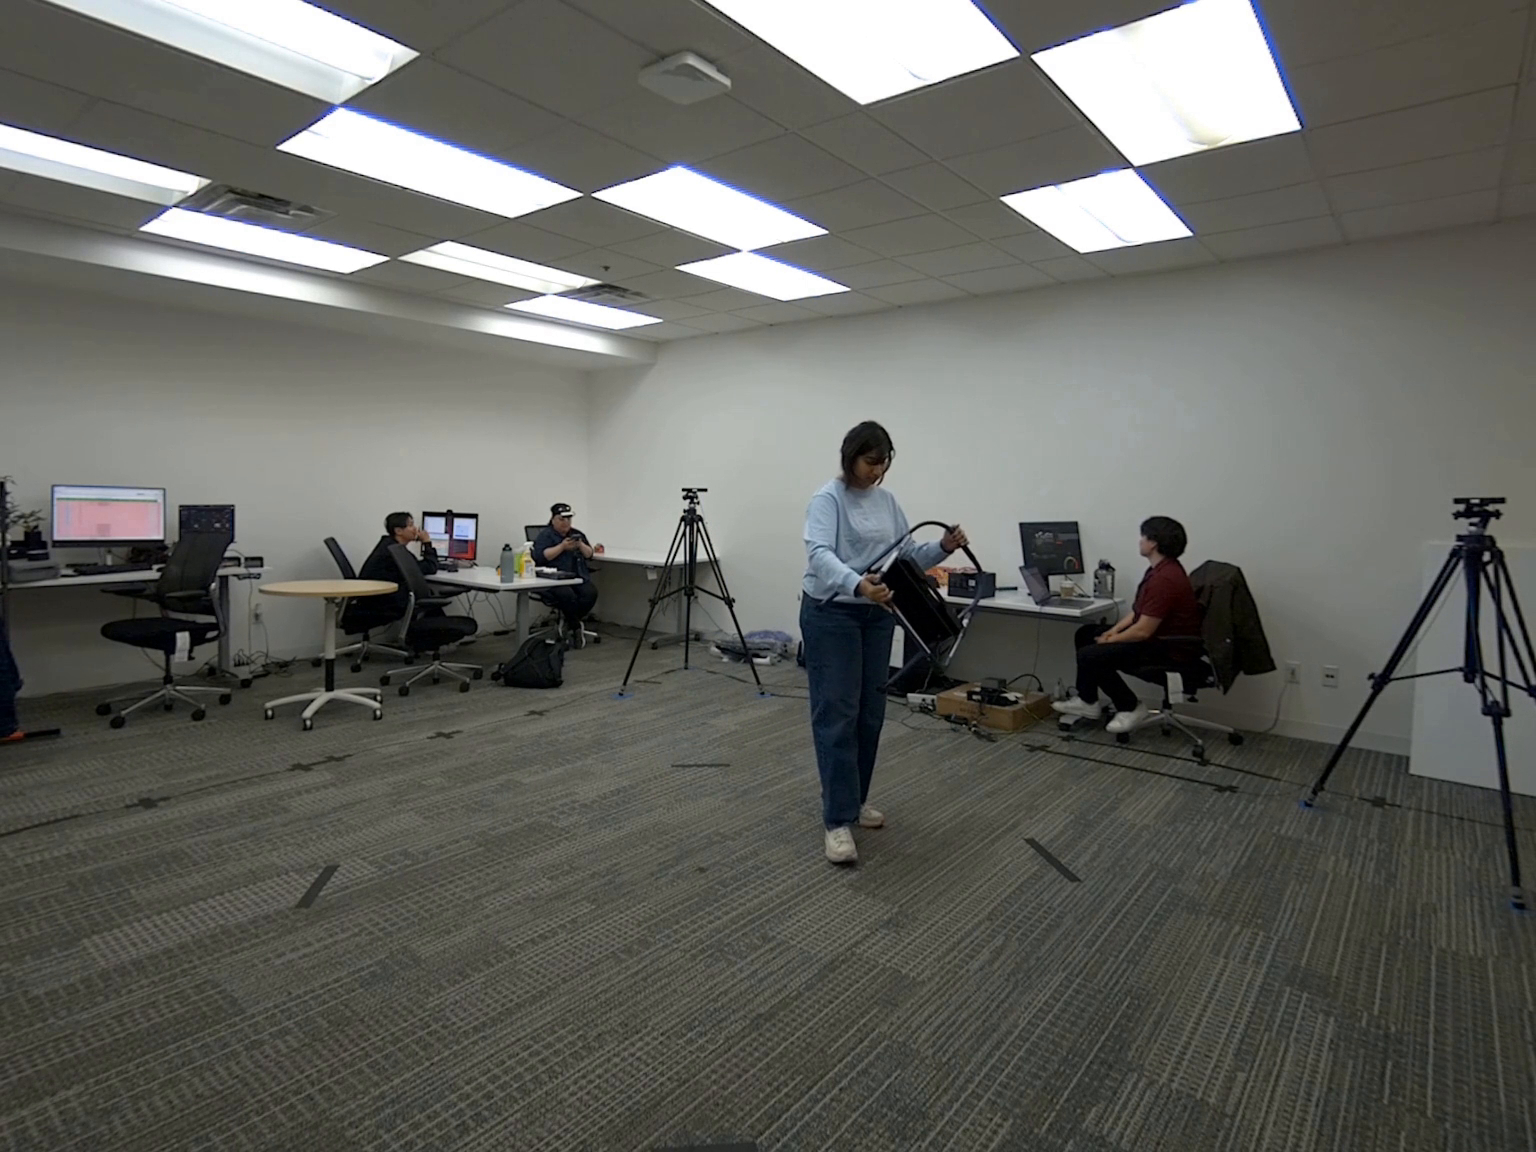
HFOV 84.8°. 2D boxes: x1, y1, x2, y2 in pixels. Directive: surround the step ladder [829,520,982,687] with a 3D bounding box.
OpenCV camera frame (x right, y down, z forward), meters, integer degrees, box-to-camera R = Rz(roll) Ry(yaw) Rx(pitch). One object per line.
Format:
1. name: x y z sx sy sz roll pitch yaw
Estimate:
1. step ladder: 0.558 0.068 3.273 0.603 0.428 0.354 -41 7 -36
